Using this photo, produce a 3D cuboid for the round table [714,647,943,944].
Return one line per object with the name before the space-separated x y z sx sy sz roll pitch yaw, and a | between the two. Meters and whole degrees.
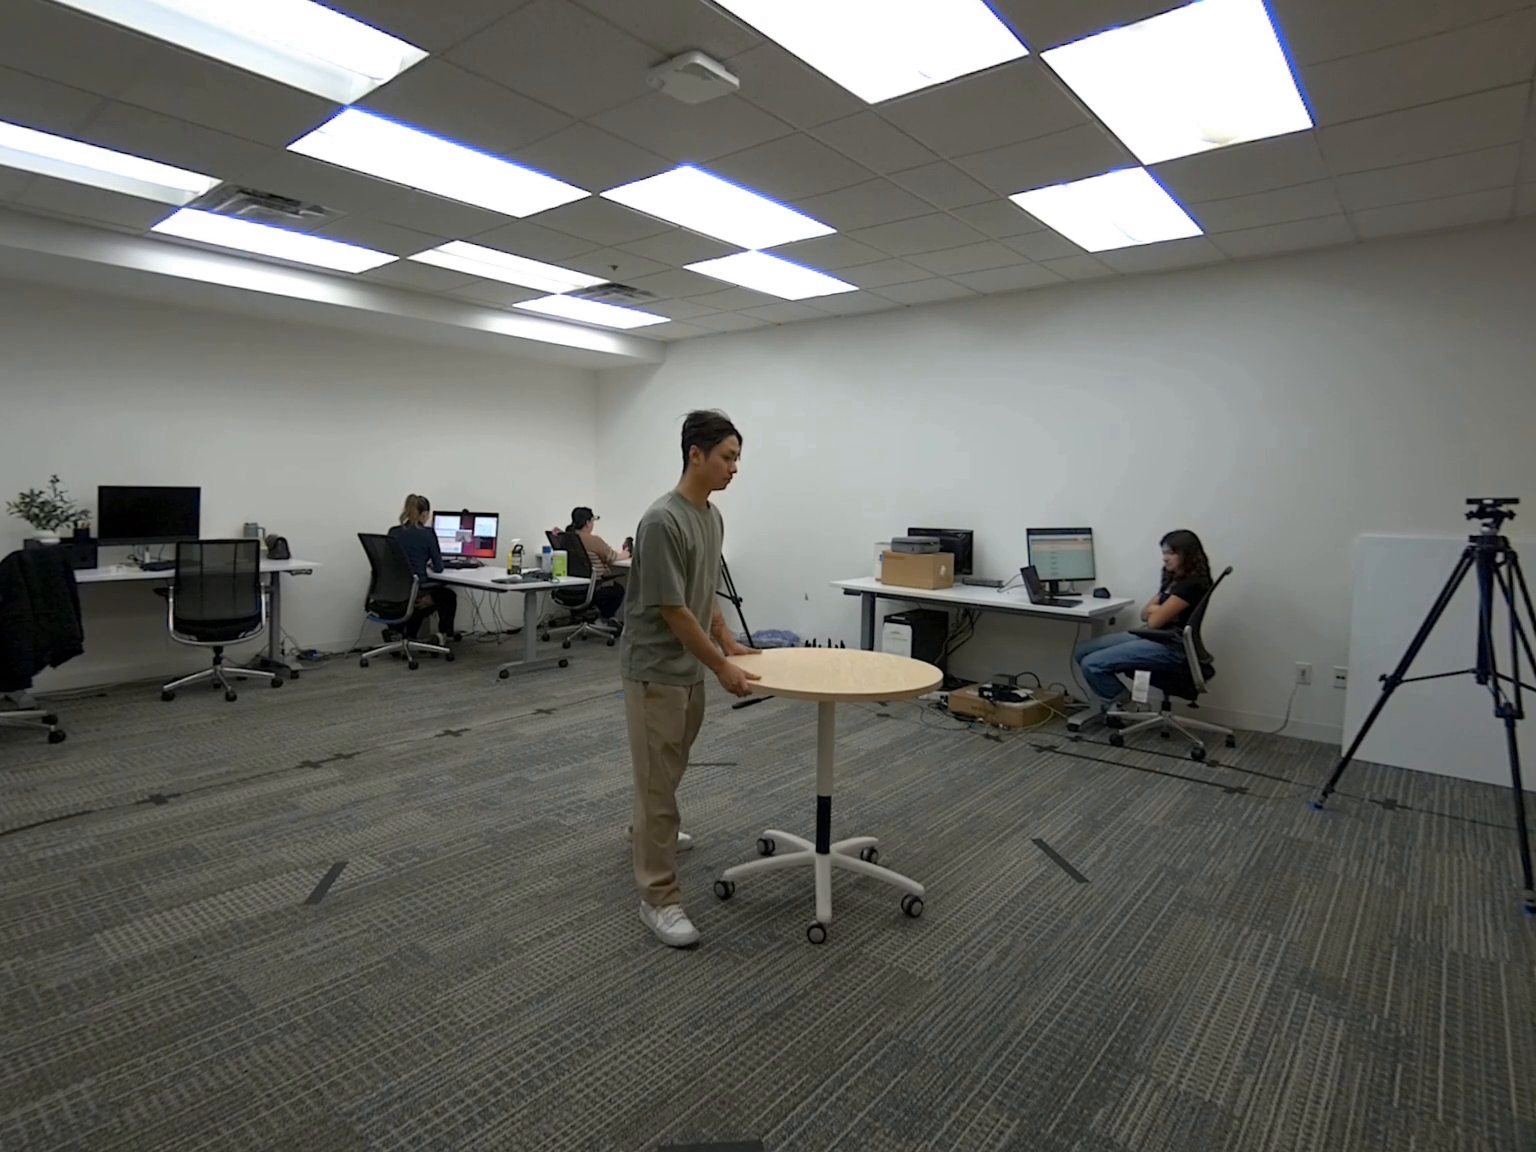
round table | 0.193 0.702 2.921 0.784 0.784 0.789 1 4 -2
